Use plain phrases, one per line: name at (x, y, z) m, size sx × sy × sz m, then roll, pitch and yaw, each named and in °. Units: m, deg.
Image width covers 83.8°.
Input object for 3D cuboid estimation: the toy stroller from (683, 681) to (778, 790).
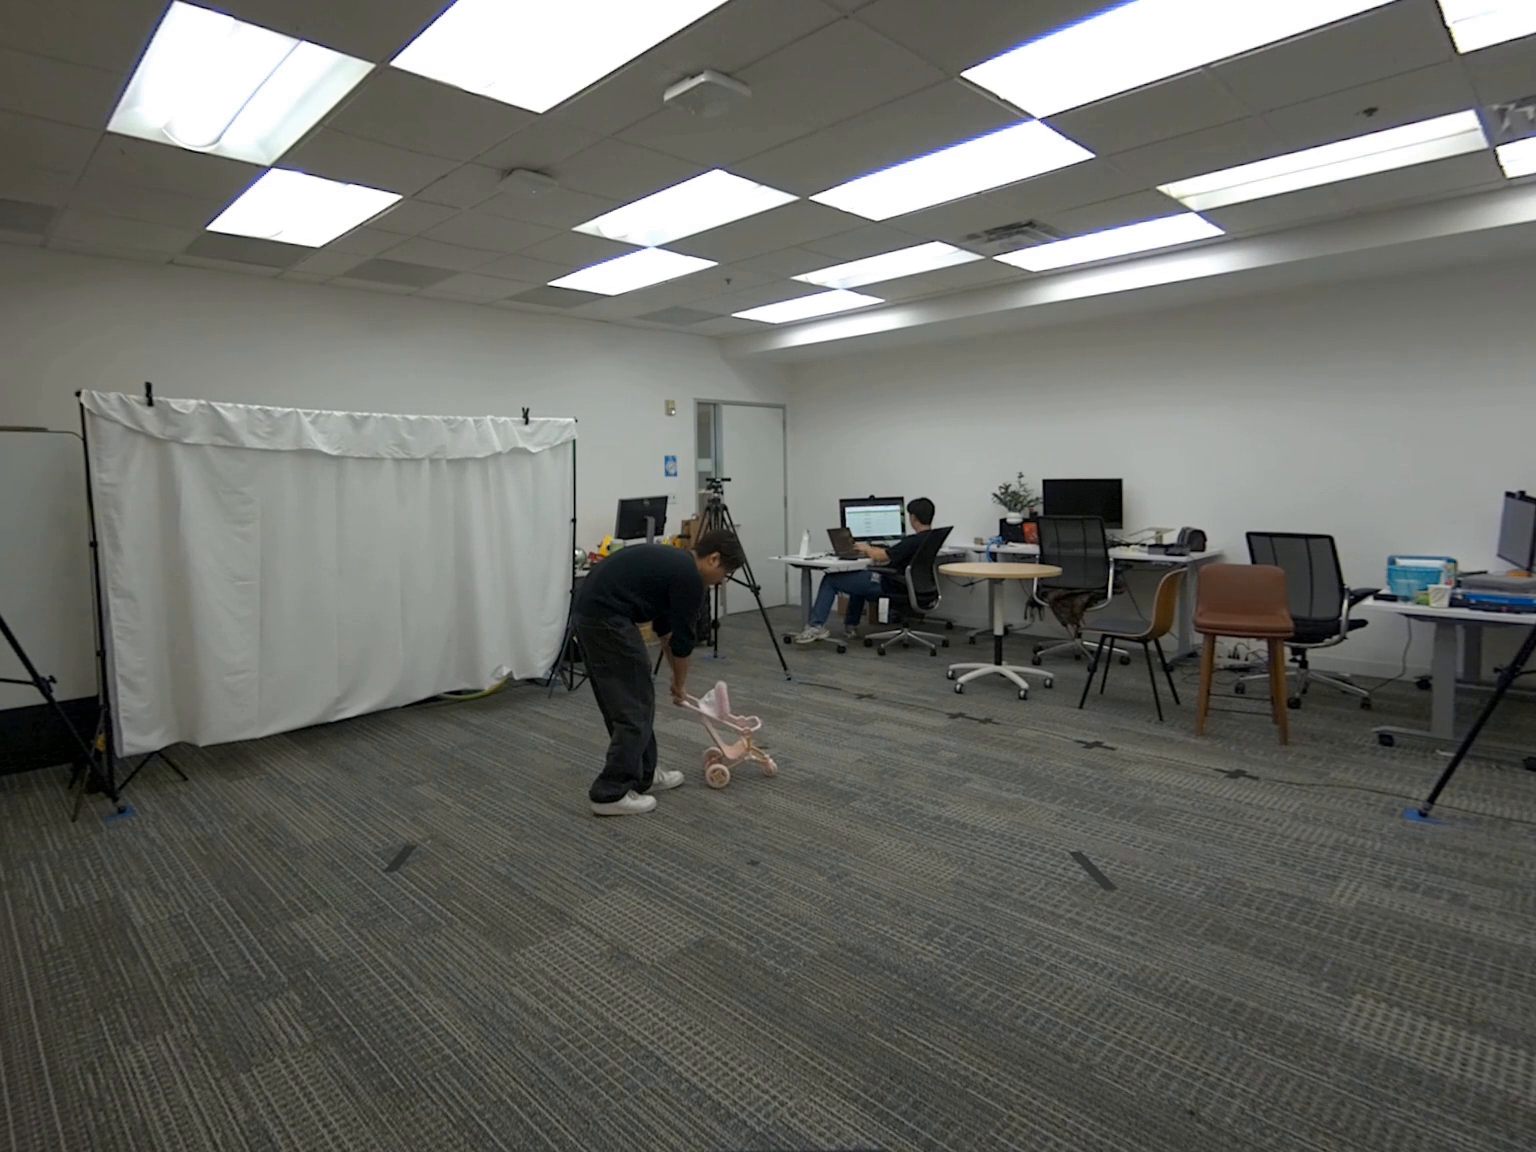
toy stroller at (-0.191, 0.726, 3.979) m, size 0.341 × 0.533 × 0.282 m, roll -20°, pitch 4°, yaw 0°
